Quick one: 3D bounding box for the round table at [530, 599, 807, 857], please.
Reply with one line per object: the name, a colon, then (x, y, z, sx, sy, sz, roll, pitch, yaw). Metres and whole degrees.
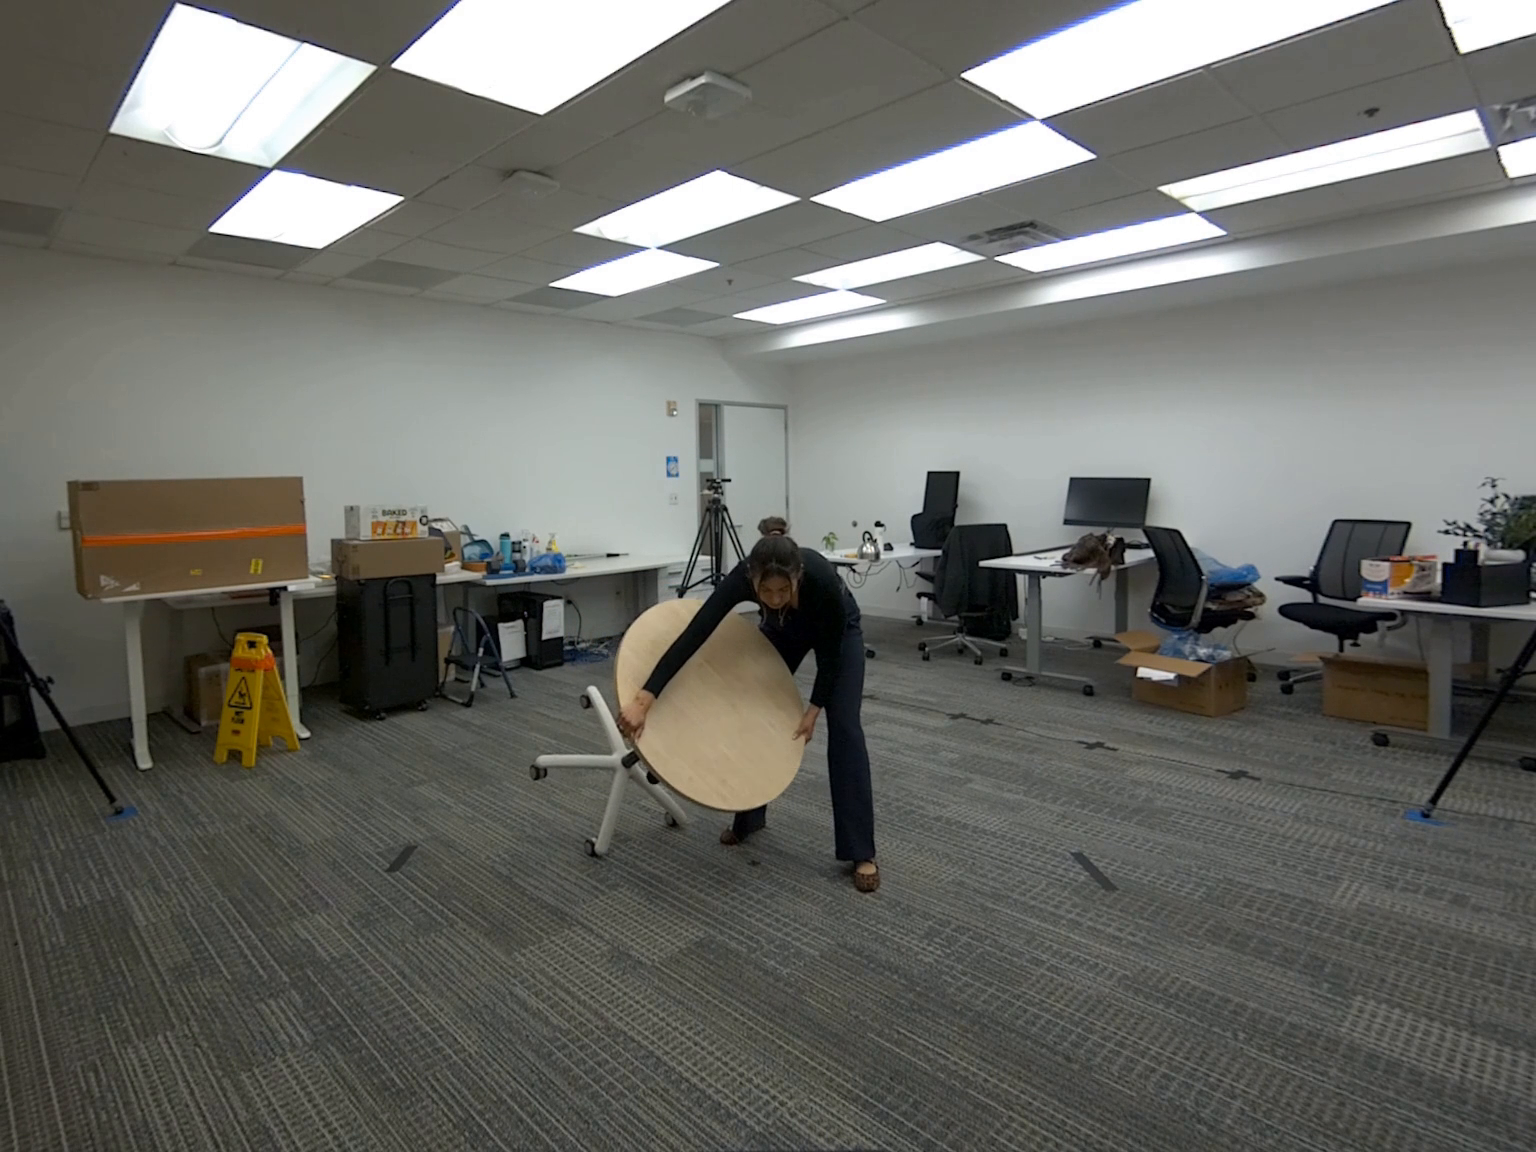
round table: (-0.402, 0.609, 3.186, 0.744, 0.782, 0.796, -5, -27, -42)
